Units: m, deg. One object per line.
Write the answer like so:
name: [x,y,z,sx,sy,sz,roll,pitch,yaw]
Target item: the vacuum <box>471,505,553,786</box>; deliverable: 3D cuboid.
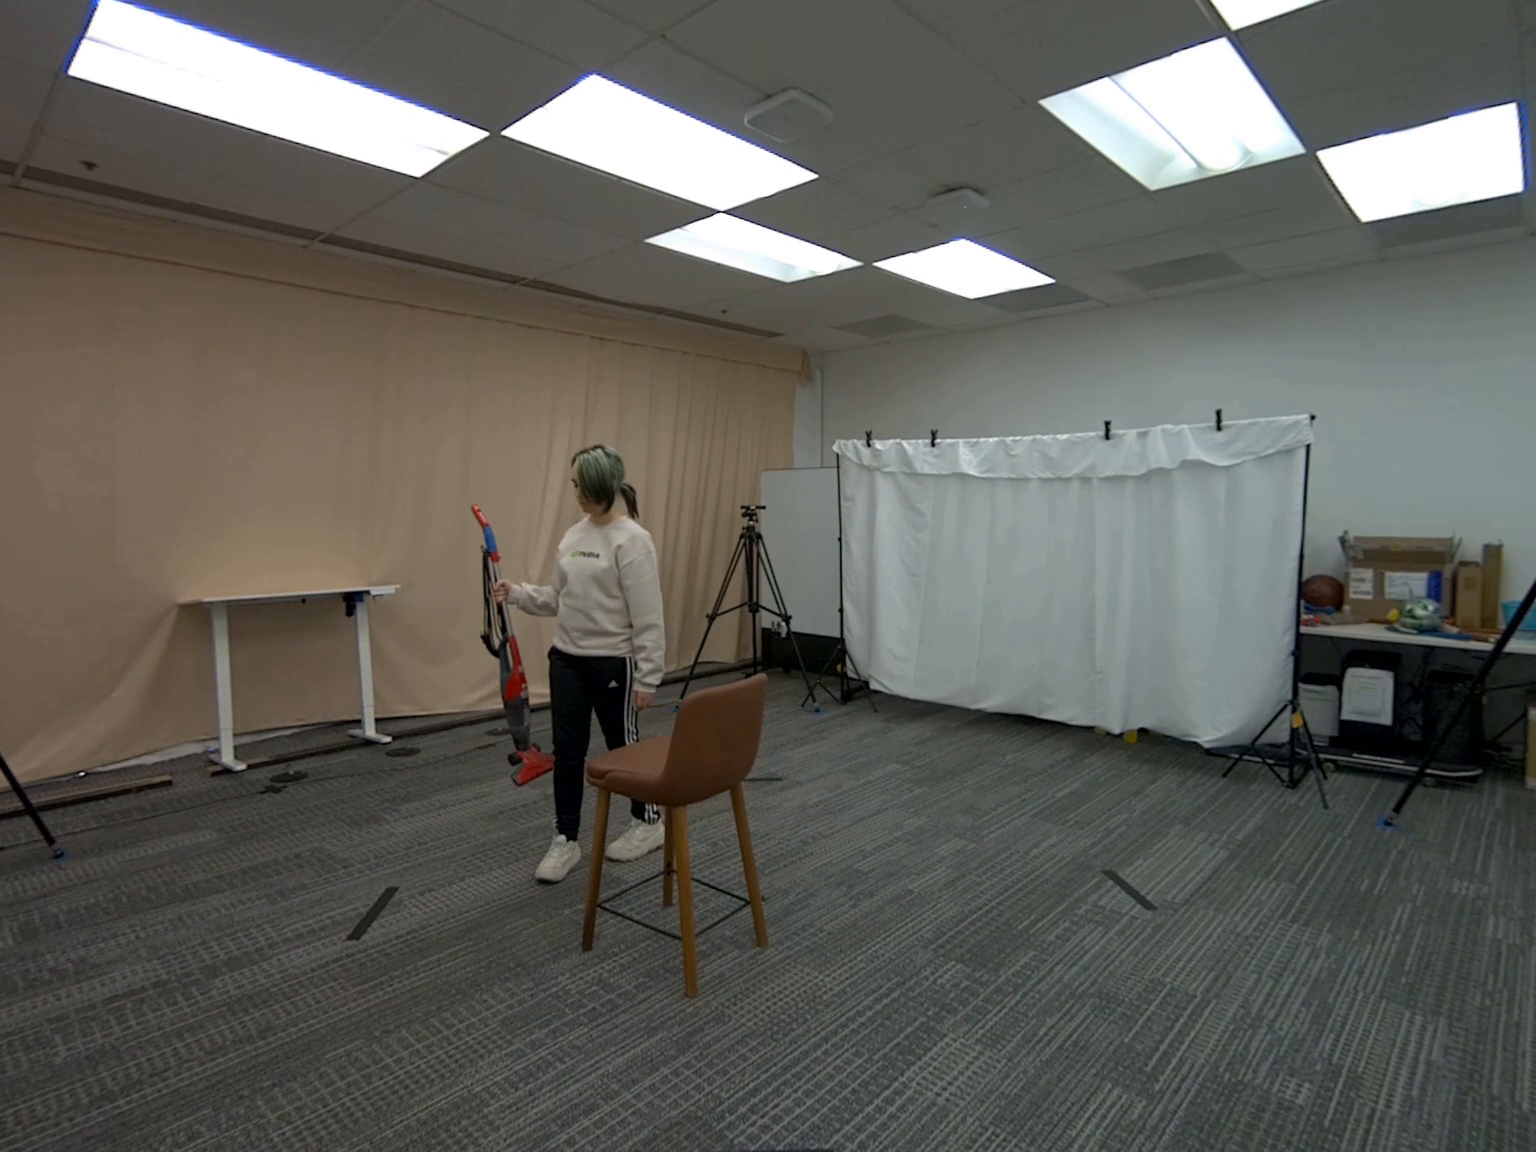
vacuum: [-1.065,0.241,3.353,0.148,1.048,0.246,-10,2,37]
